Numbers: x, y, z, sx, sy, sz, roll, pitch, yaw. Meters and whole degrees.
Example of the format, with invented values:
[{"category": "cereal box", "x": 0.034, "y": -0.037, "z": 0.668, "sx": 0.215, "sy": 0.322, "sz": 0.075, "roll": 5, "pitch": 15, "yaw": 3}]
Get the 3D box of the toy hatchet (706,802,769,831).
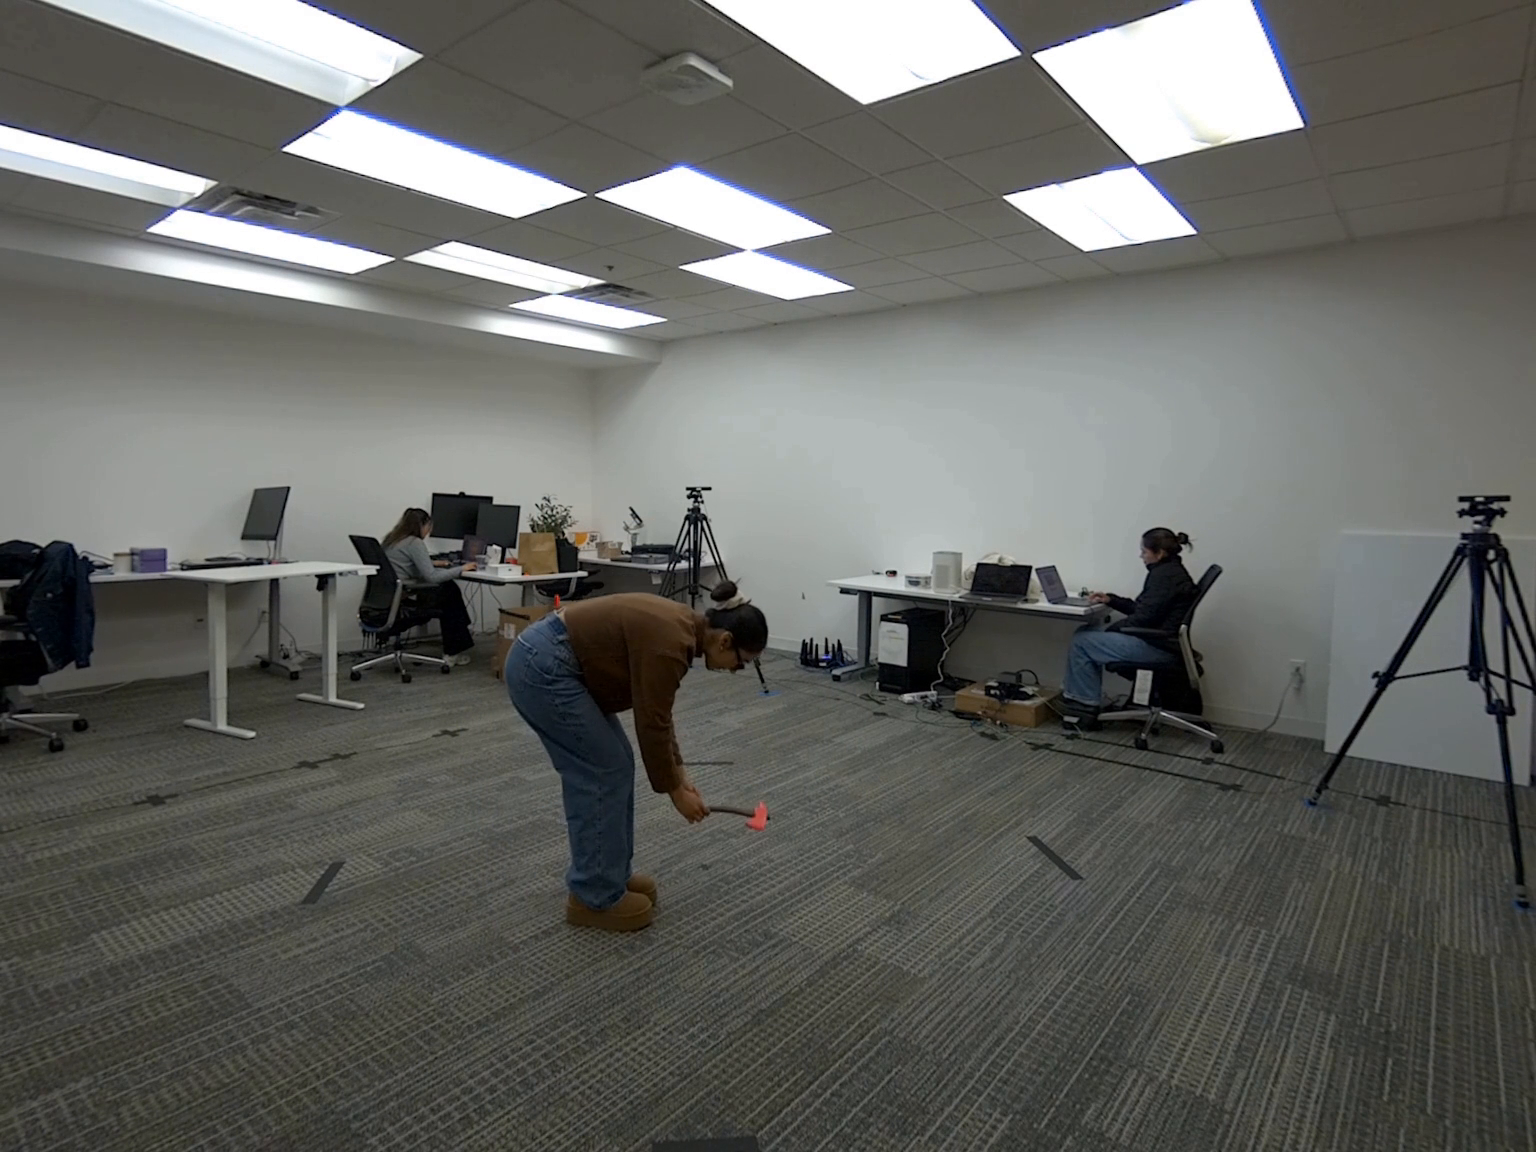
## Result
[{"category": "toy hatchet", "x": -0.132, "y": 0.785, "z": 2.743, "sx": 0.265, "sy": 0.029, "sz": 0.136, "roll": -1, "pitch": 26, "yaw": -18}]
